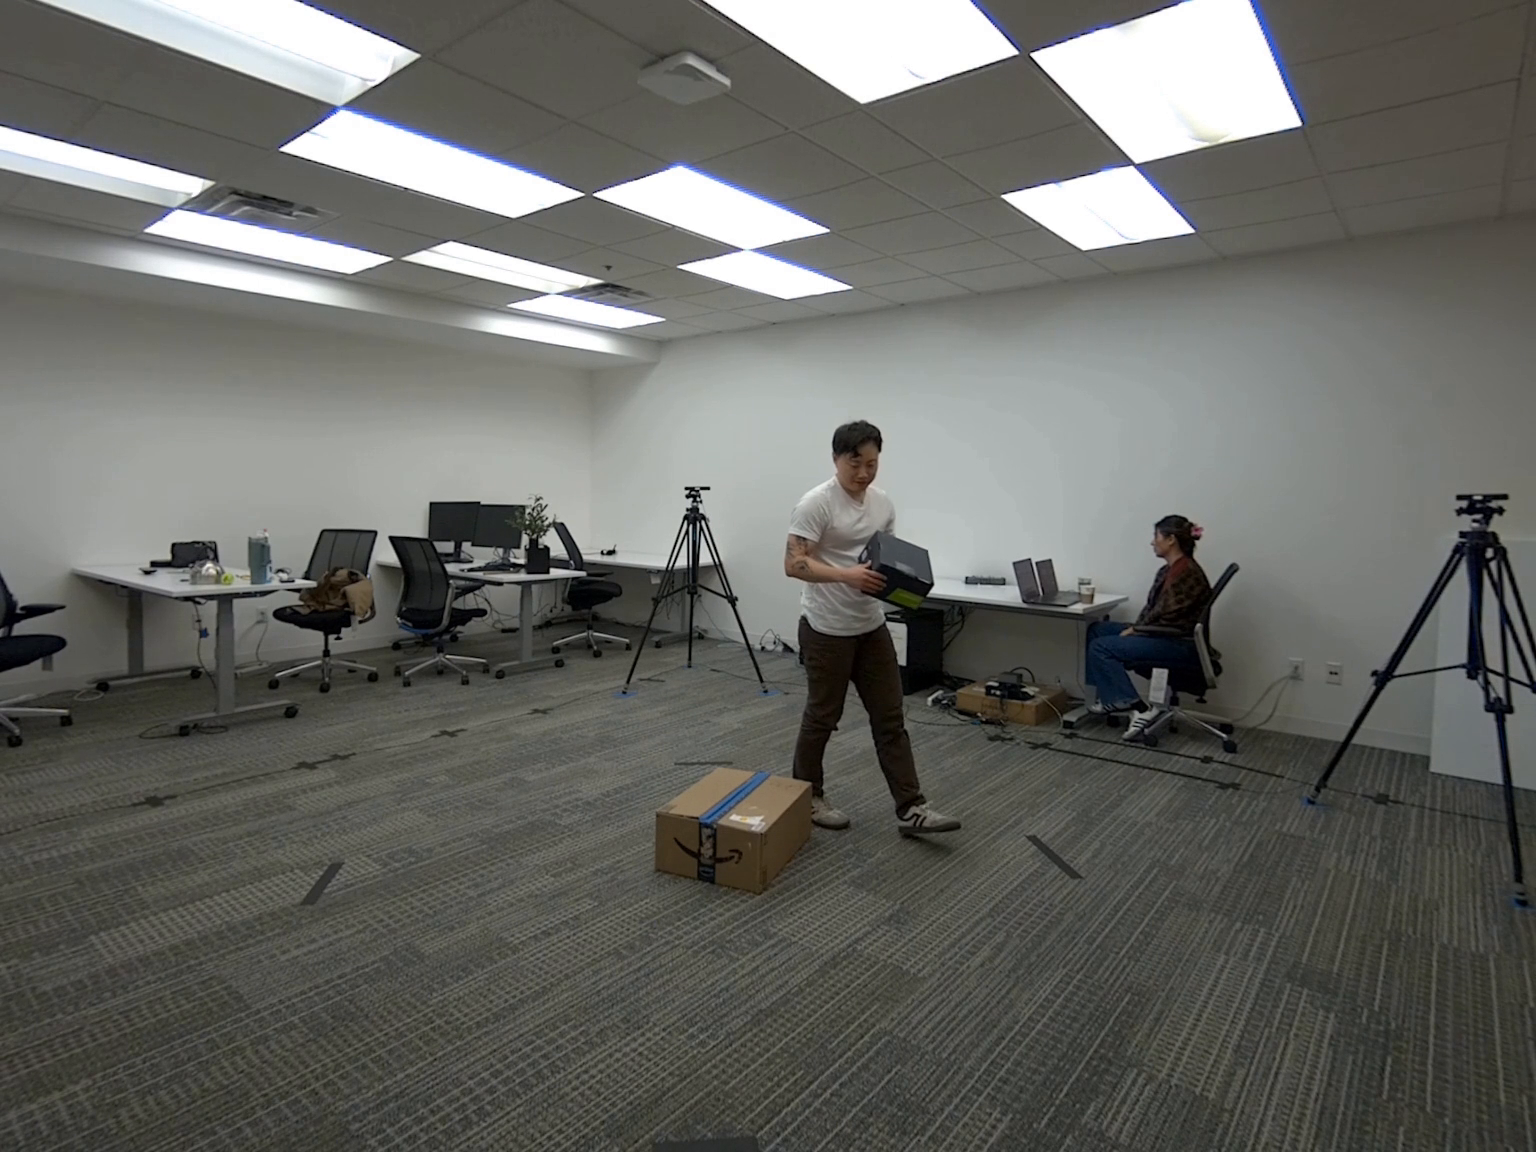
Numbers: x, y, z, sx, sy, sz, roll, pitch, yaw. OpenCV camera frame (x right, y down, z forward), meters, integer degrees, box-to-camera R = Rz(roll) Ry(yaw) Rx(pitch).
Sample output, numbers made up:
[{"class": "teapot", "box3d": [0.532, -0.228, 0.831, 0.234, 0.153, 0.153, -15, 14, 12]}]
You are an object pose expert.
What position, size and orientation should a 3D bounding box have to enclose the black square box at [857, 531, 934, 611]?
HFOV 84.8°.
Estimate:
[{"class": "black square box", "box3d": [0.489, -0.027, 3.249, 0.224, 0.154, 0.222, 21, 36, -14]}]
